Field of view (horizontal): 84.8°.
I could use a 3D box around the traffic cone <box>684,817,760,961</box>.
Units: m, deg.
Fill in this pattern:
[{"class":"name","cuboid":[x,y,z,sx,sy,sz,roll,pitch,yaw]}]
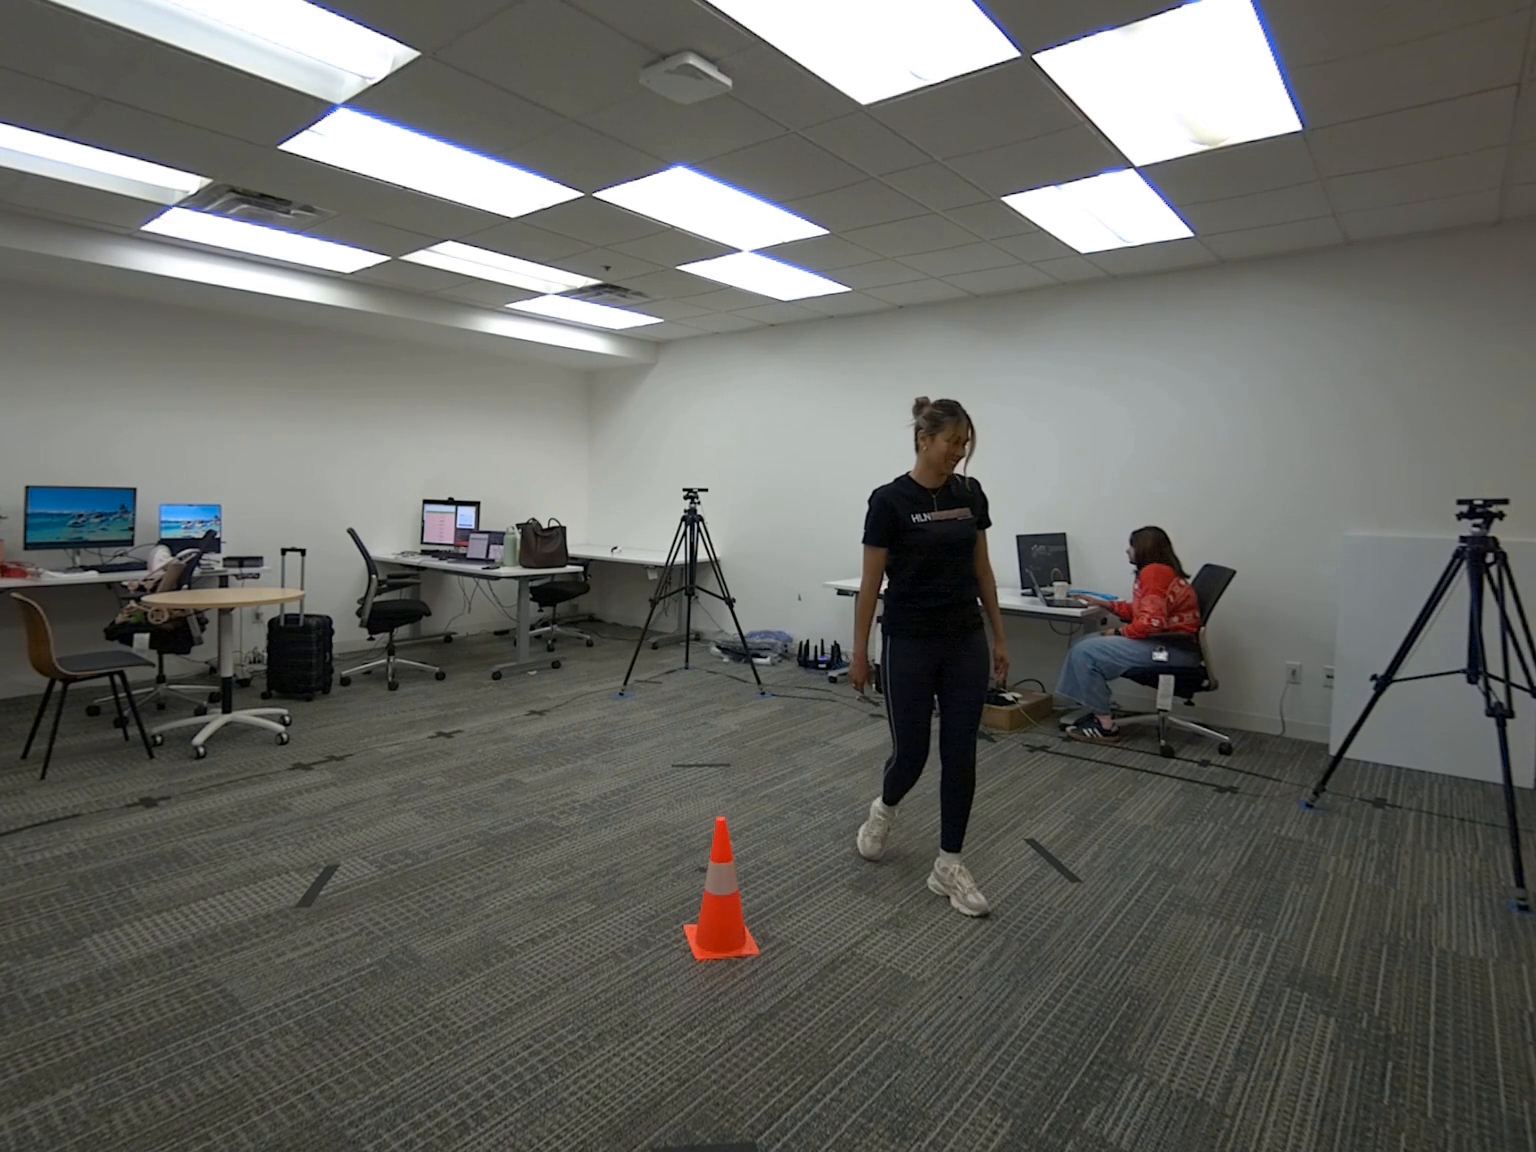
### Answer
[{"class":"traffic cone","cuboid":[-0.145,0.936,2.603,0.202,0.382,0.207,1,5,-14]}]
